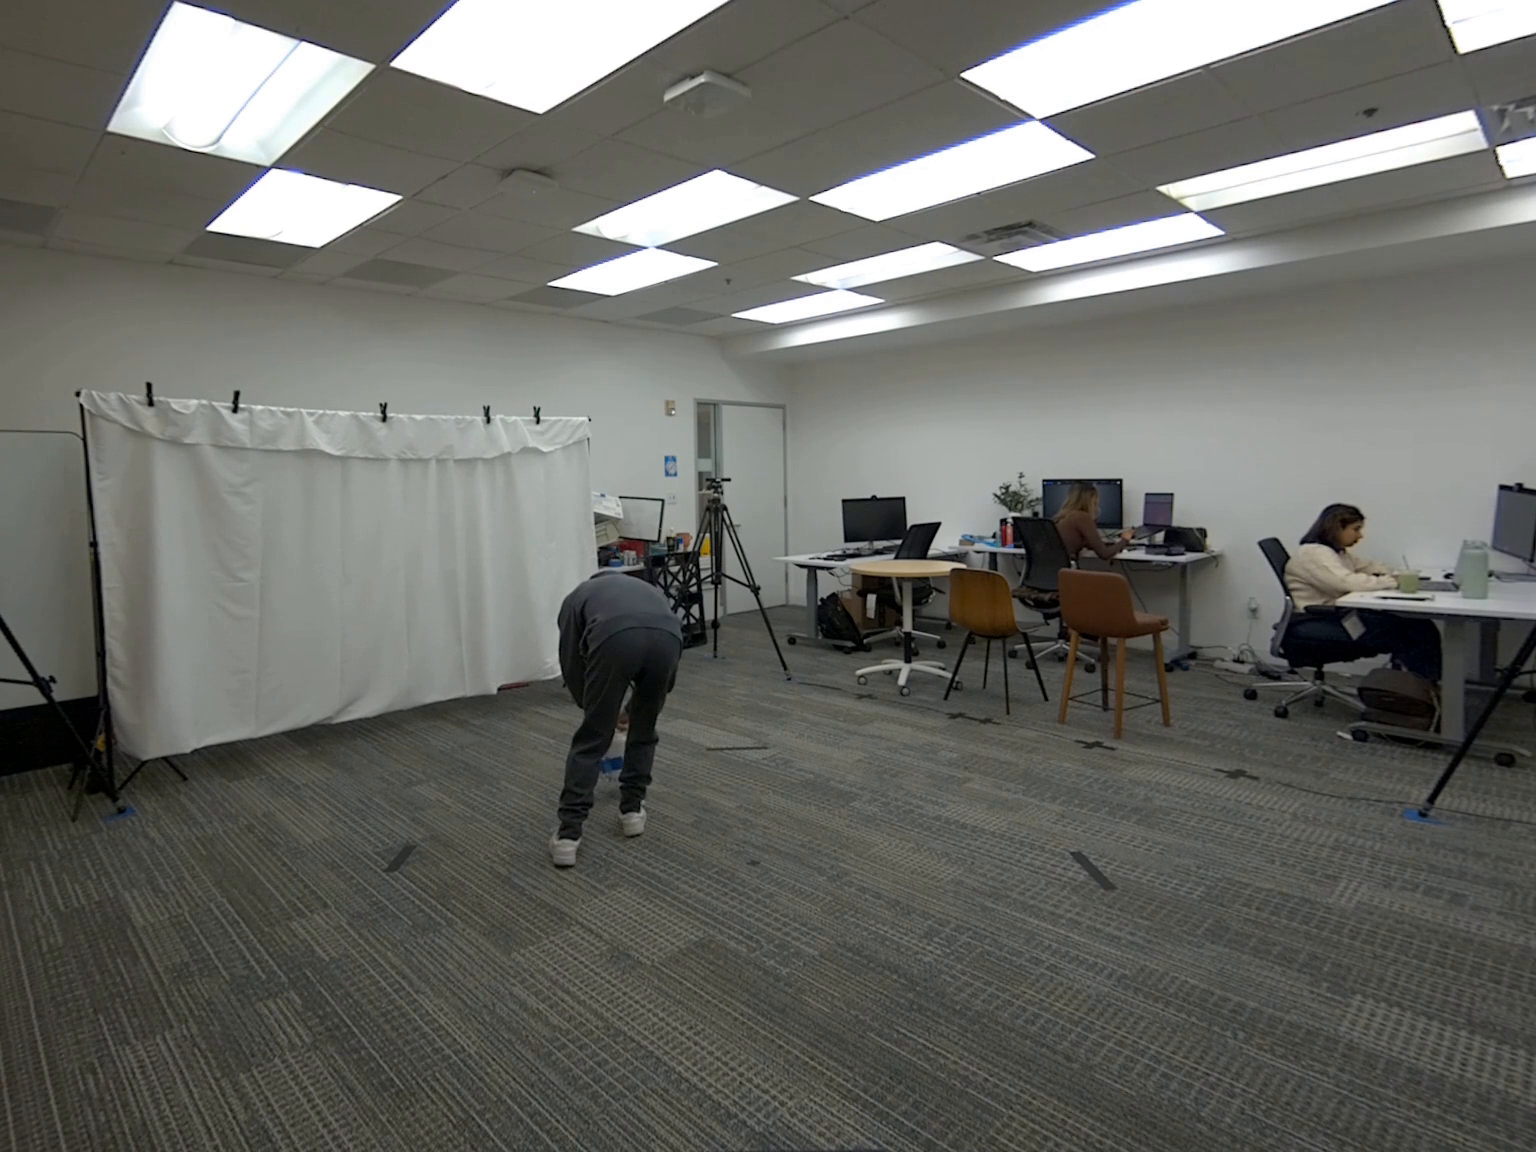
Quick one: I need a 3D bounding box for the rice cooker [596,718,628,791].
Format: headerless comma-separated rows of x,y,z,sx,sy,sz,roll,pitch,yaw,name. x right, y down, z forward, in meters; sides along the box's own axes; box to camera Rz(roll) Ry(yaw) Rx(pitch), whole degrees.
-0.673,0.785,3.818,0.216,0.232,0.223,-4,6,-27,rice cooker
